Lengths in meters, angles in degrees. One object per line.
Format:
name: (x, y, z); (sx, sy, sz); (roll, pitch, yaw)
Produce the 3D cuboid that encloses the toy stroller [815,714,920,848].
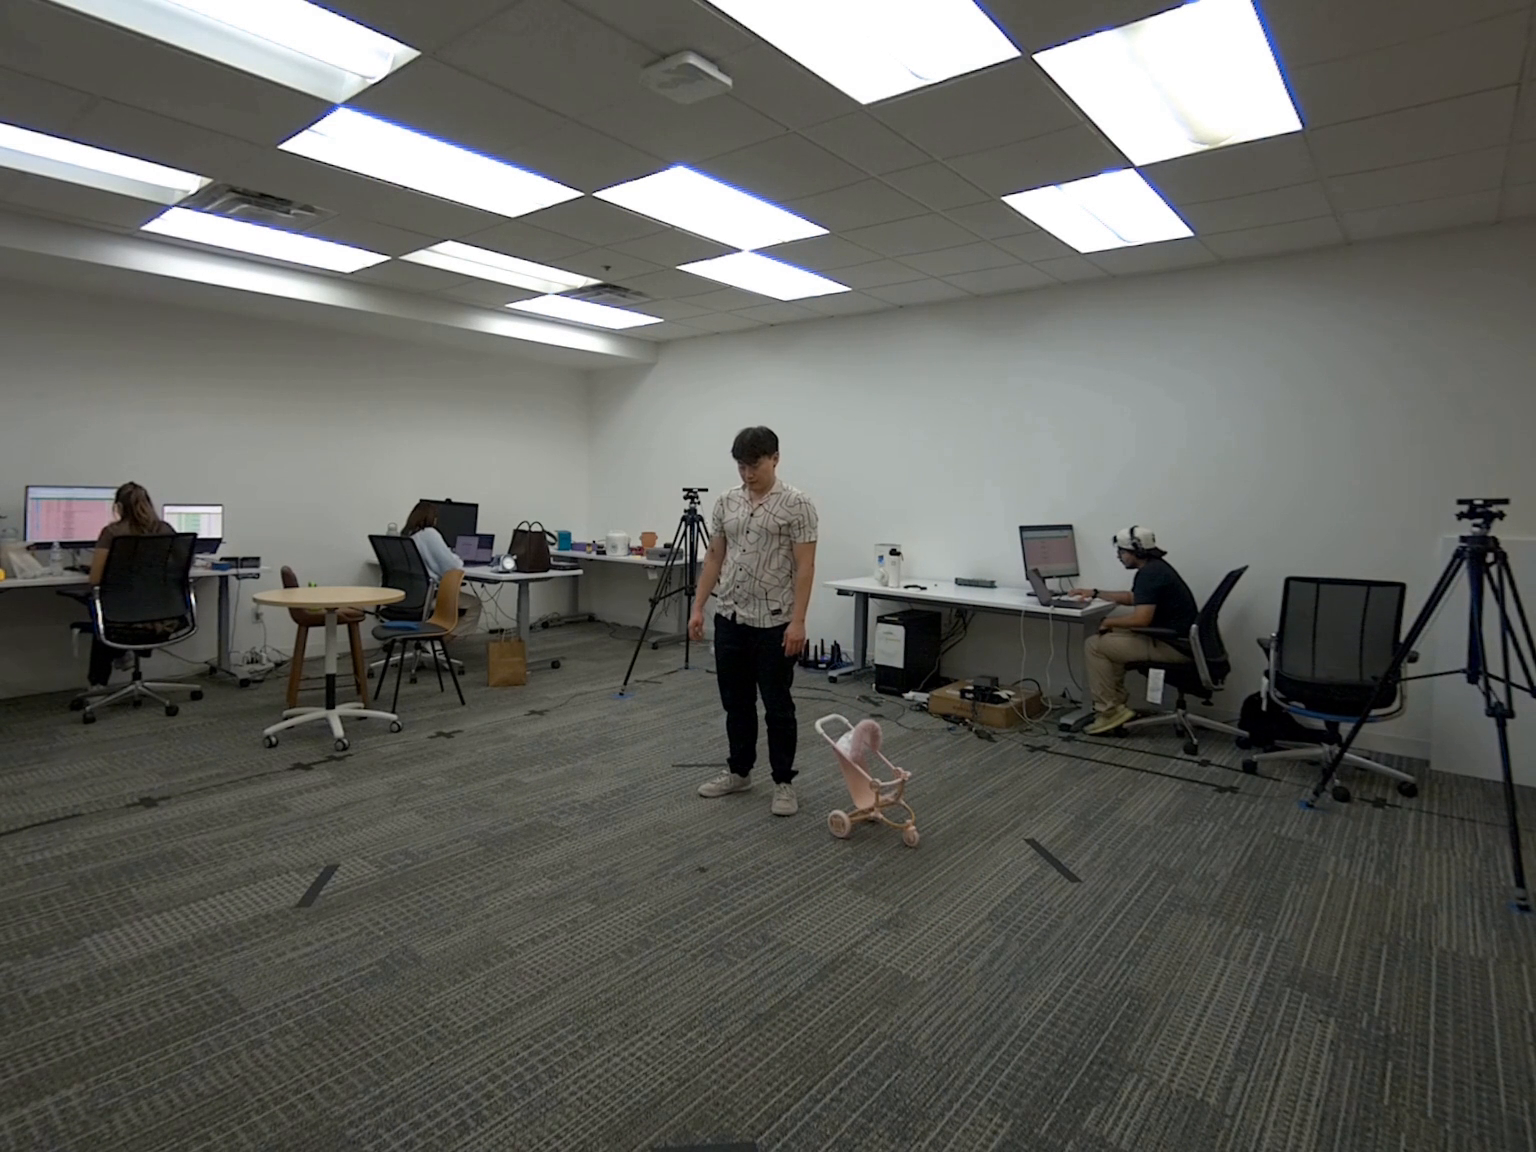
toy stroller: (0.408, 0.823, 3.468); (0.349, 0.540, 0.273); (-17, -9, 42)
